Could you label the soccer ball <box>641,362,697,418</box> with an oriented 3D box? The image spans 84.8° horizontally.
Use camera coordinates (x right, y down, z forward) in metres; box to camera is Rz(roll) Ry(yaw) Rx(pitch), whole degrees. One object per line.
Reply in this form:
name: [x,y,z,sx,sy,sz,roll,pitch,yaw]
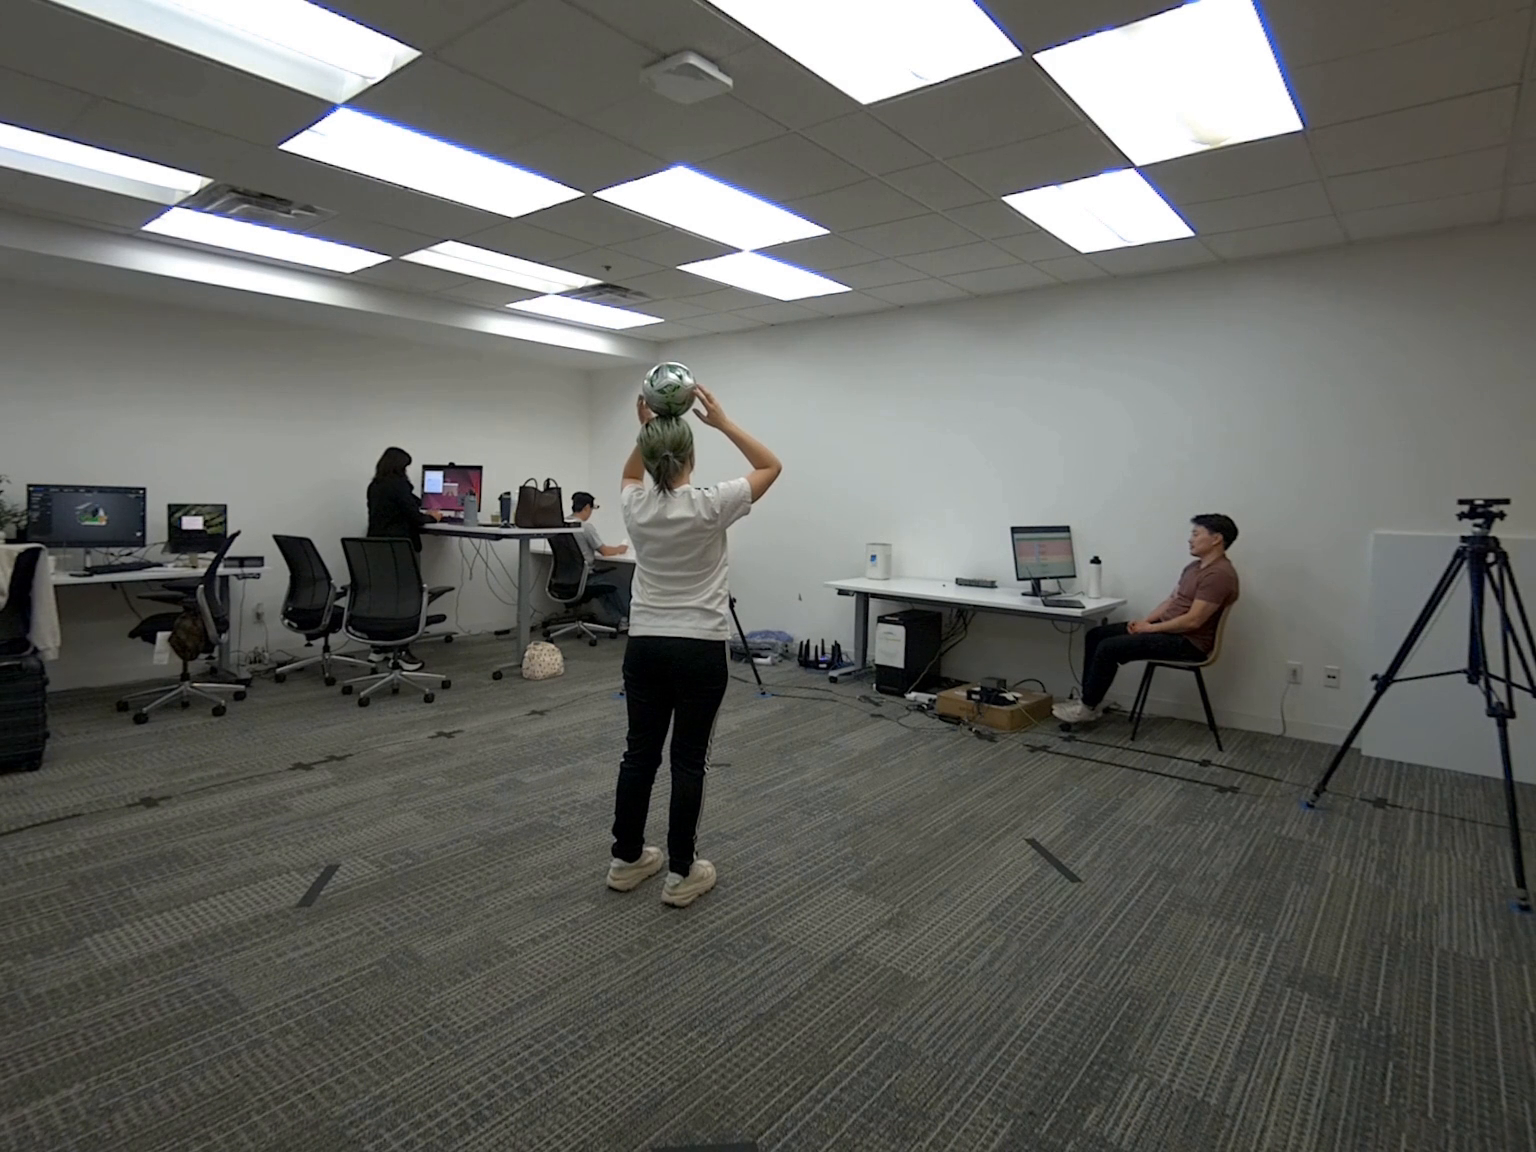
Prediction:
soccer ball: [-0.343,-0.635,2.897,0.187,0.187,0.188,1,4,-2]
